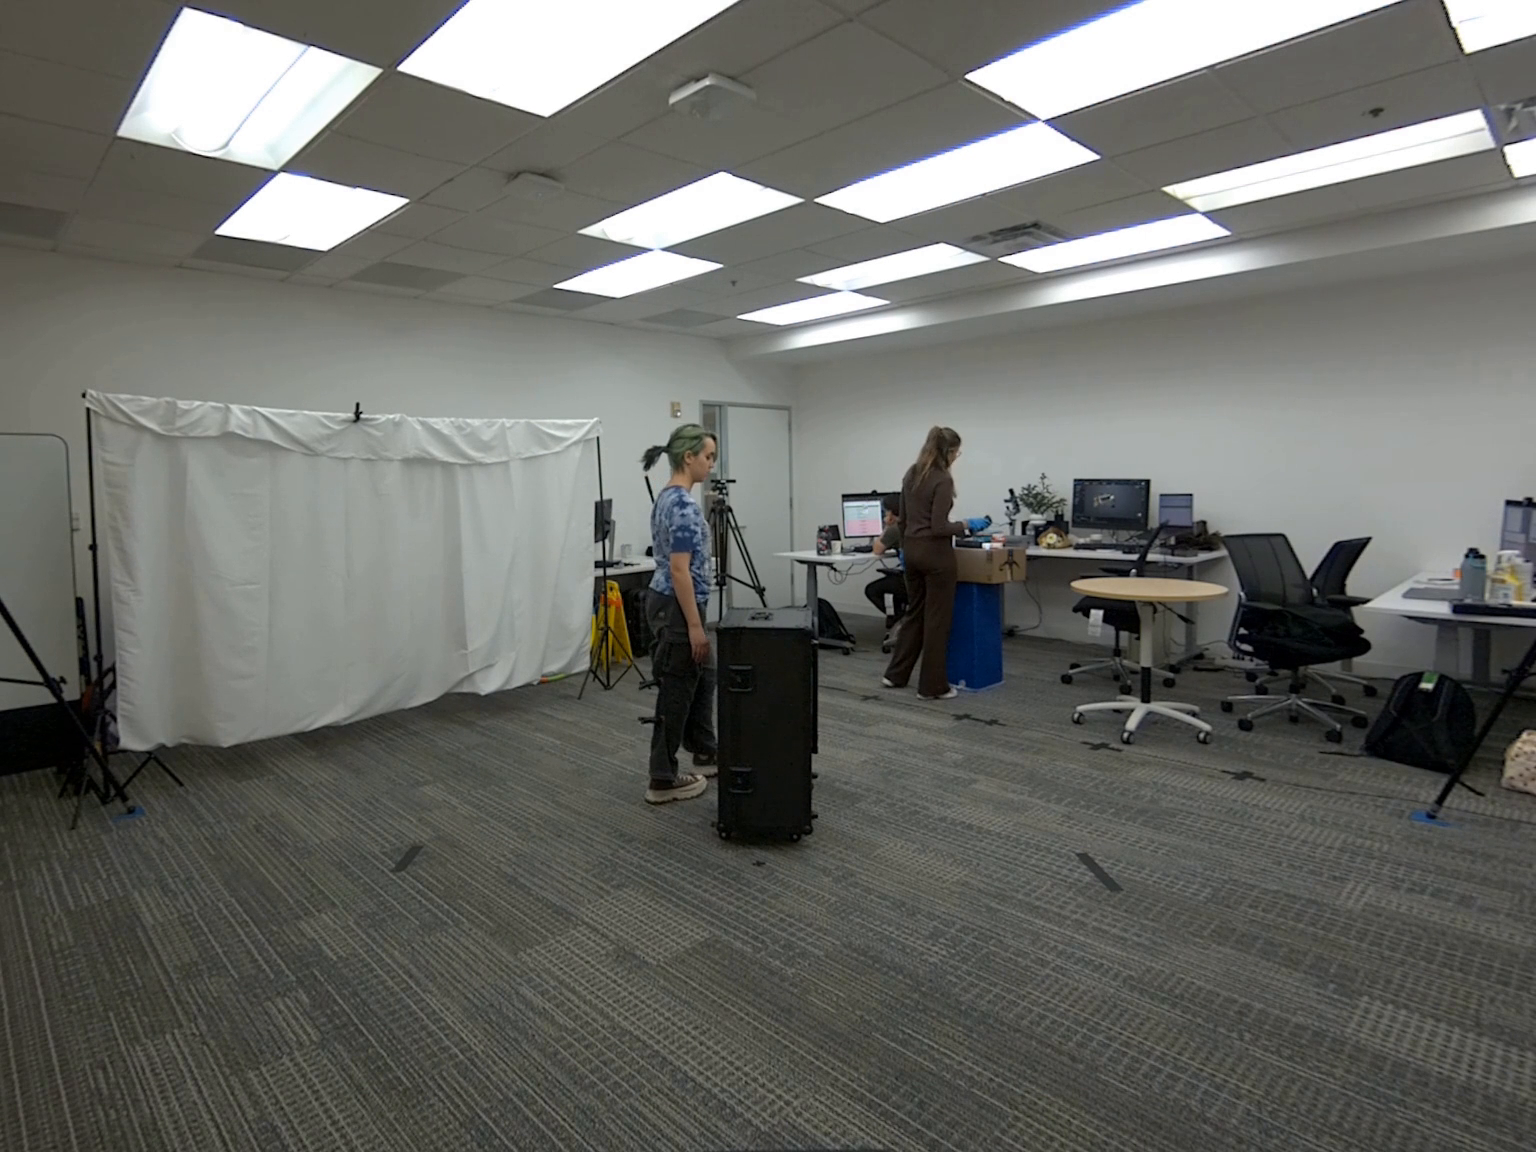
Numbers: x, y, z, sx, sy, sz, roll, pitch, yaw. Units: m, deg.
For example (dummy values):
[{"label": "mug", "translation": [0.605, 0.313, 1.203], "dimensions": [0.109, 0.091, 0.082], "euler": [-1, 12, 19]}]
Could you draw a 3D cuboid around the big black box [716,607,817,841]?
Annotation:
[{"label": "big black box", "translation": [0.007, 0.587, 3.421], "dimensions": [0.399, 0.858, 0.520], "euler": [2, 4, 5]}]
